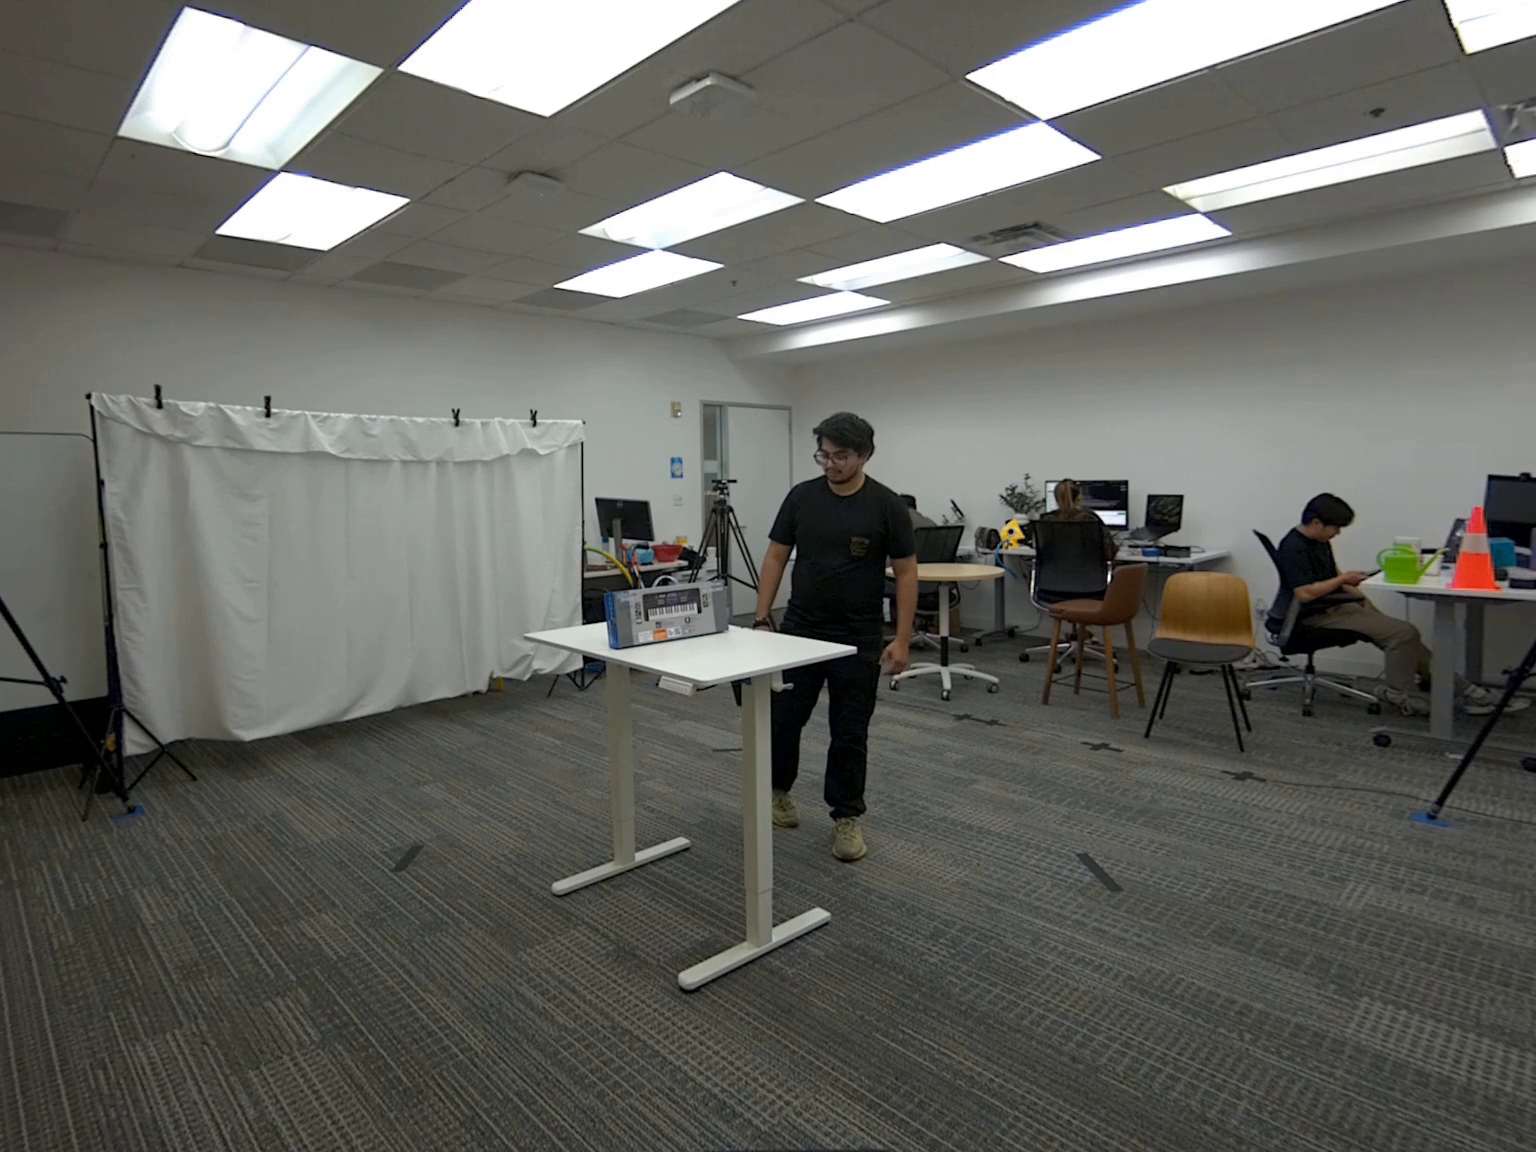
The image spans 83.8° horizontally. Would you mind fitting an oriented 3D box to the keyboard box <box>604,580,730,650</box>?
[{"bbox_3d":[-0.321,0.121,2.778,0.426,0.176,0.060,-7,-1,-39],"label":"keyboard box"}]
